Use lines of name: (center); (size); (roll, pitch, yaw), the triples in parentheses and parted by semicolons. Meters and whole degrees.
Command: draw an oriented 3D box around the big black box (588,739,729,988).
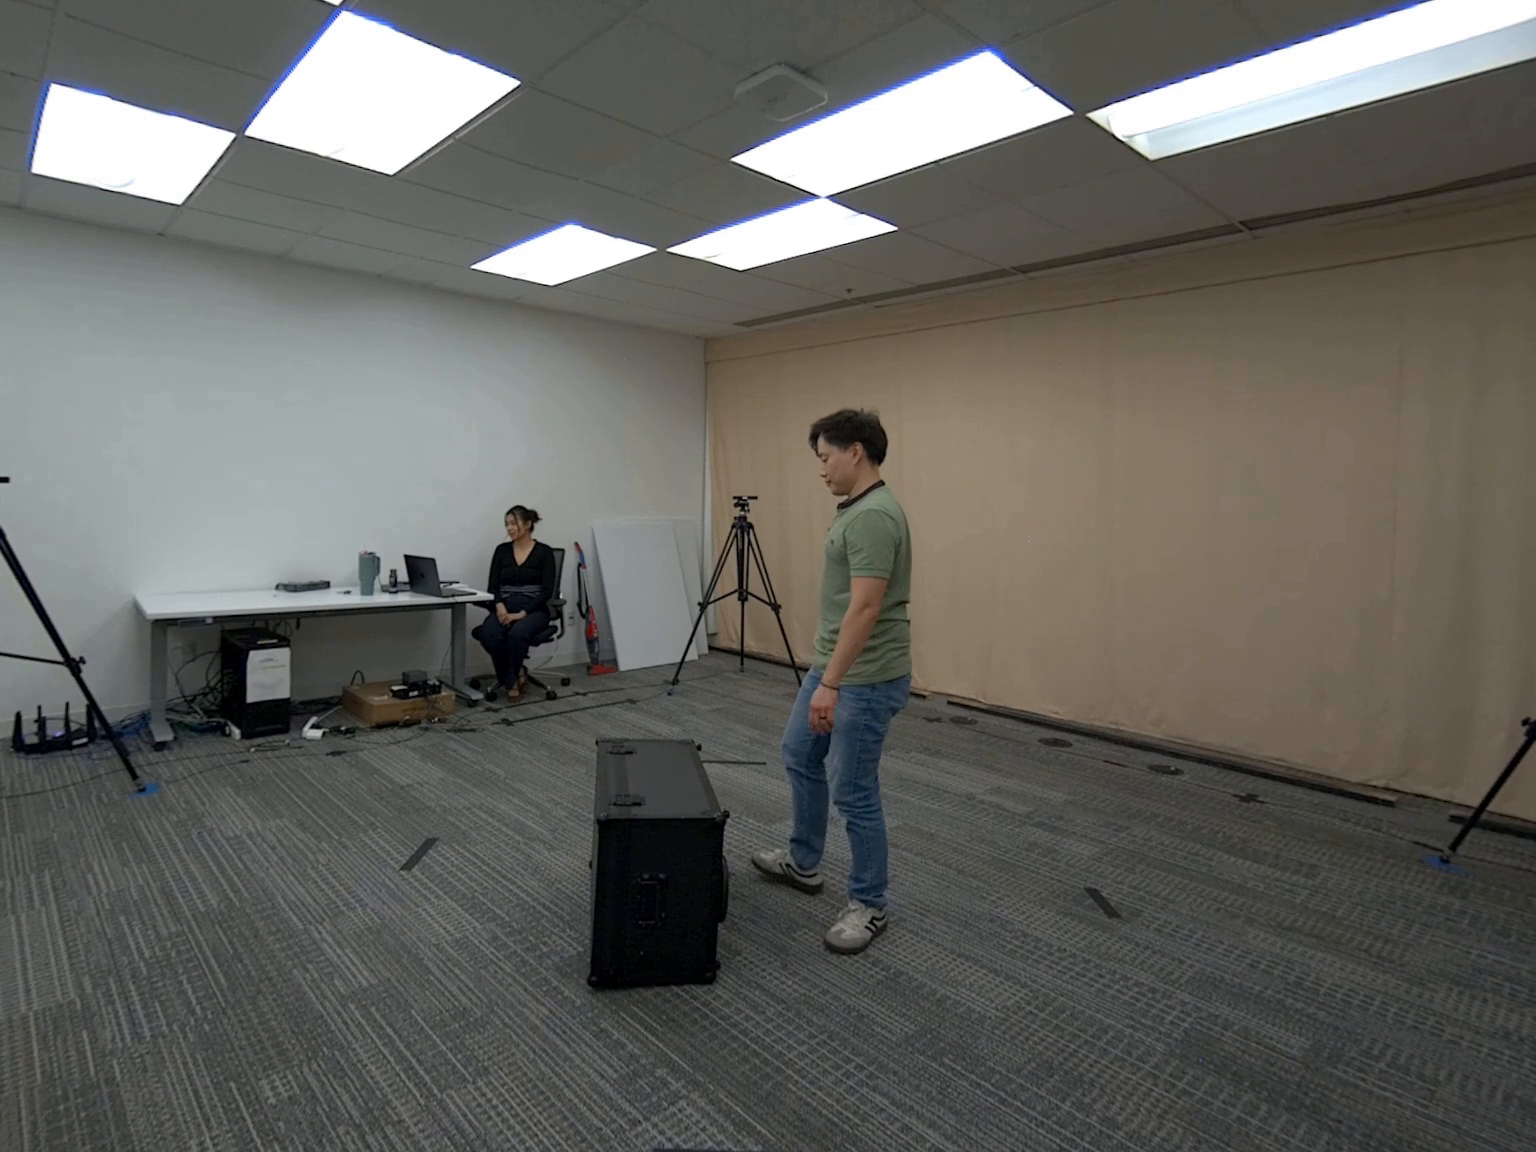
big black box: (-0.380, 0.867, 2.772); (0.392, 0.520, 0.872); (3, 5, -12)
